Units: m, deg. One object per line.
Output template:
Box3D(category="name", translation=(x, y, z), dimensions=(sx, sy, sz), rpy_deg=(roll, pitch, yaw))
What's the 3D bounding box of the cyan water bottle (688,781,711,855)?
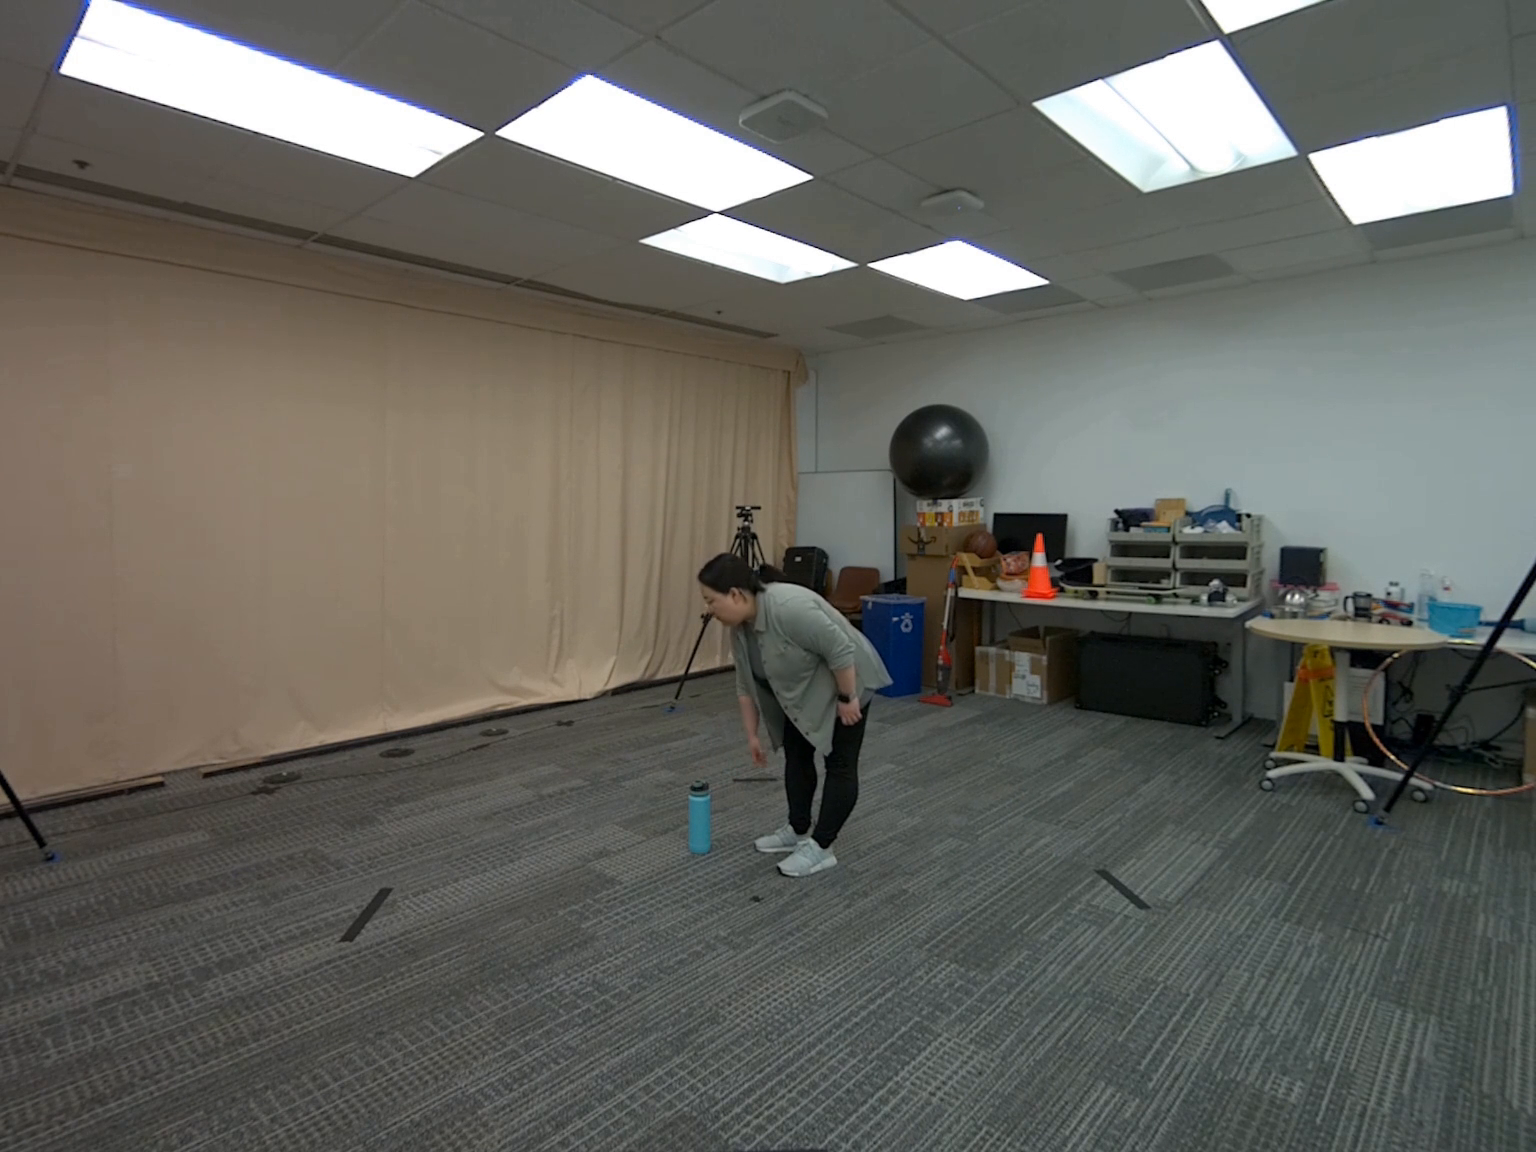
Box3D(category="cyan water bottle", translation=(-0.278, 0.971, 3.419), dimensions=(0.092, 0.283, 0.092), rpy_deg=(-1, 2, -2))
